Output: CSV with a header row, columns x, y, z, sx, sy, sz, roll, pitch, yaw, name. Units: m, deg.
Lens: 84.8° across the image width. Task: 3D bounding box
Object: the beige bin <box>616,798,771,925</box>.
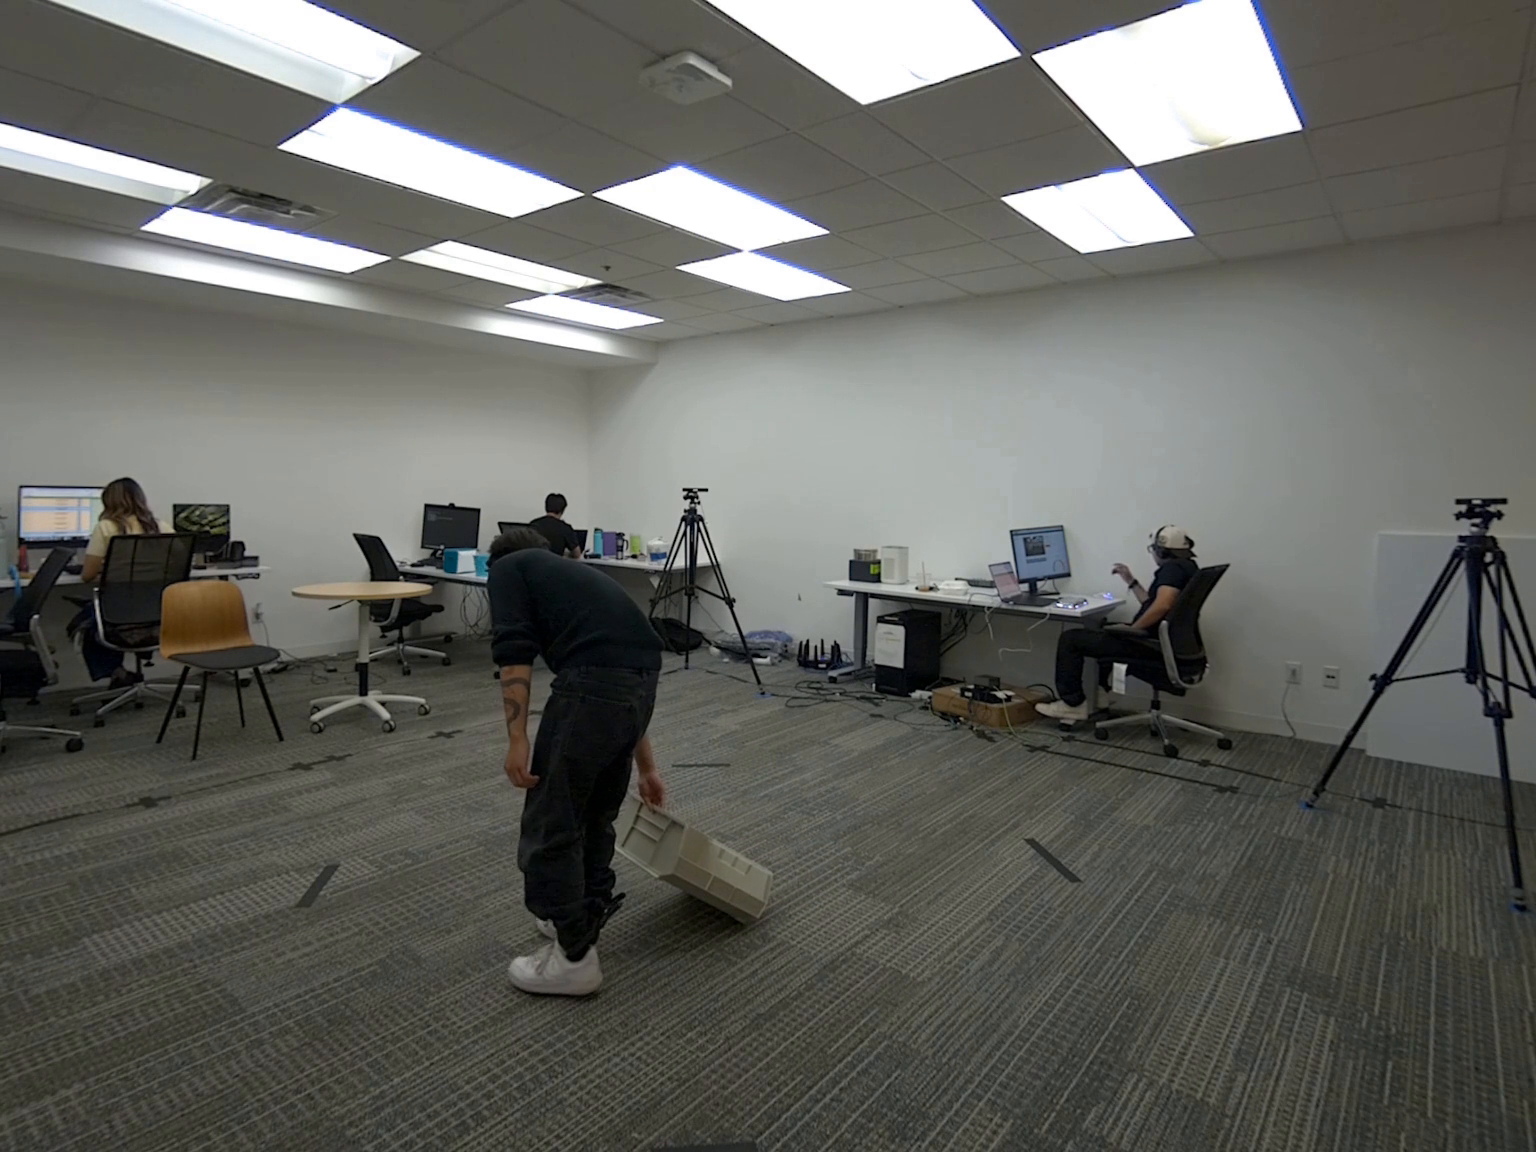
x,y,z,sx,sy,sz,roll,pitch,yaw,name
-0.253,0.912,2.746,0.406,0.190,0.390,40,-21,-33,beige bin
